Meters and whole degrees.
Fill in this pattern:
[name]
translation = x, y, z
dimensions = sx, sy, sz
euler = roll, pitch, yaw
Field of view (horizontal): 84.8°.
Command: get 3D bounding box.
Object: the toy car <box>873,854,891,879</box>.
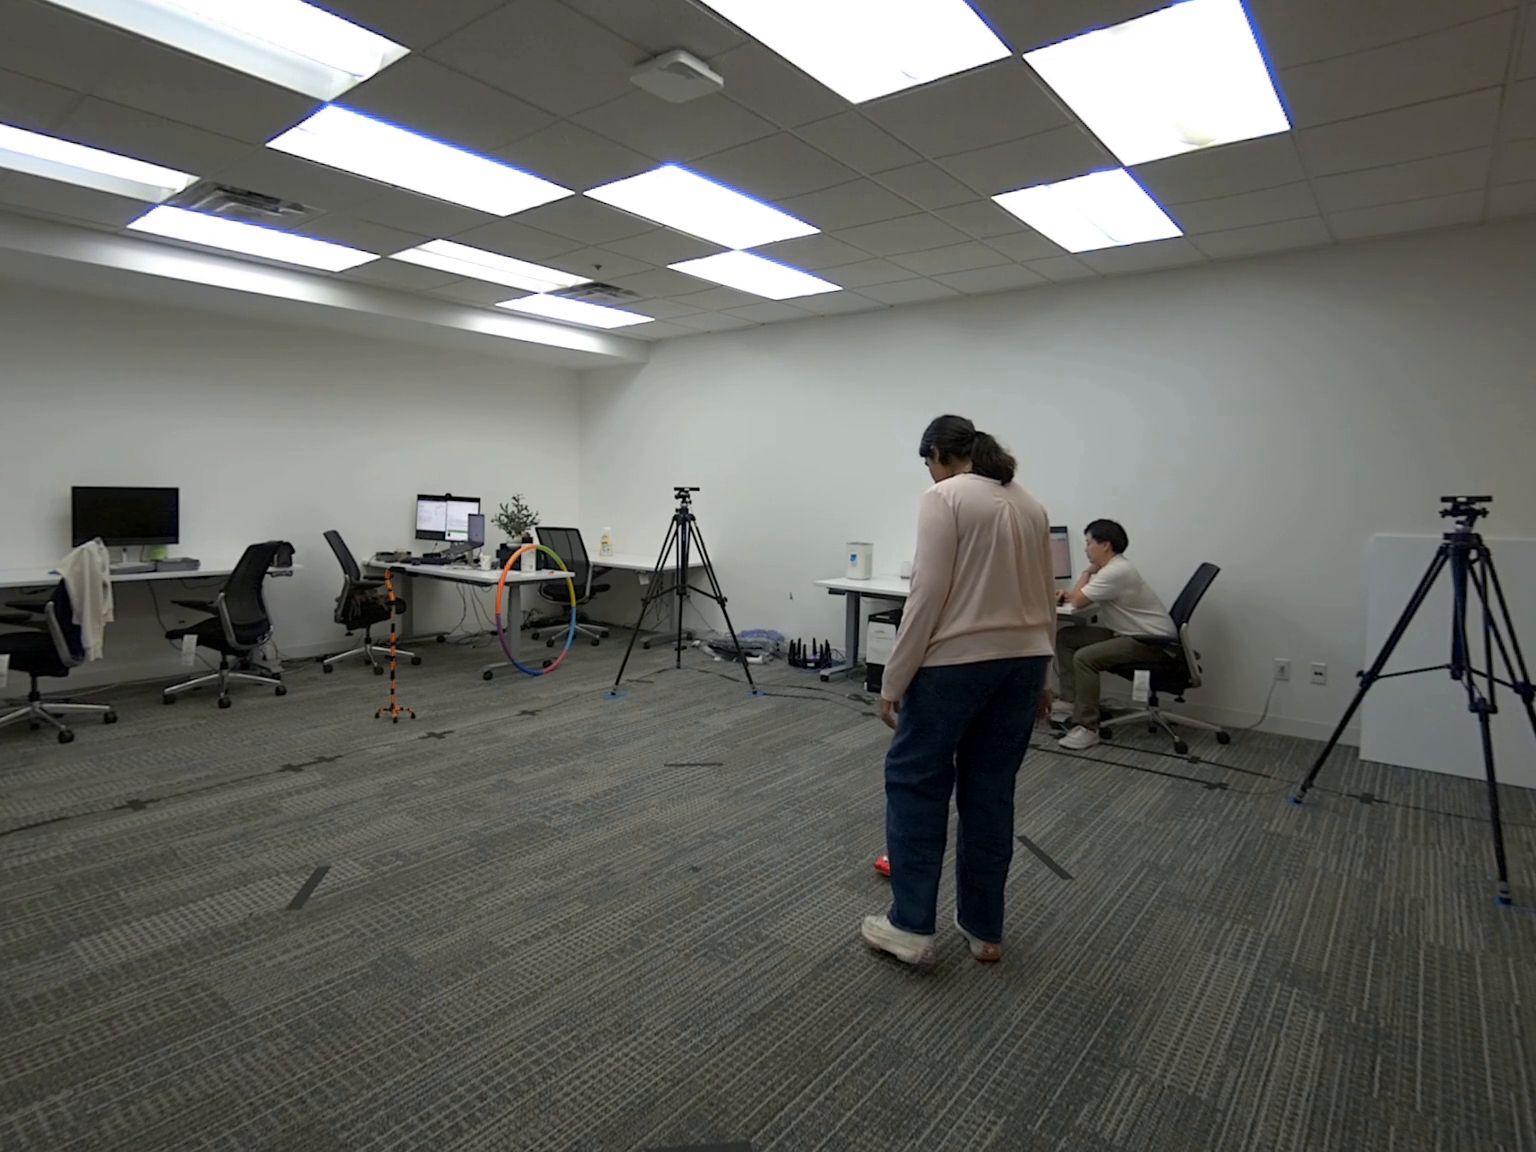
[toy car]
translation = 0.482, 1.043, 3.123
dimensions = 0.135, 0.083, 0.245
euler = 7, -4, 43
